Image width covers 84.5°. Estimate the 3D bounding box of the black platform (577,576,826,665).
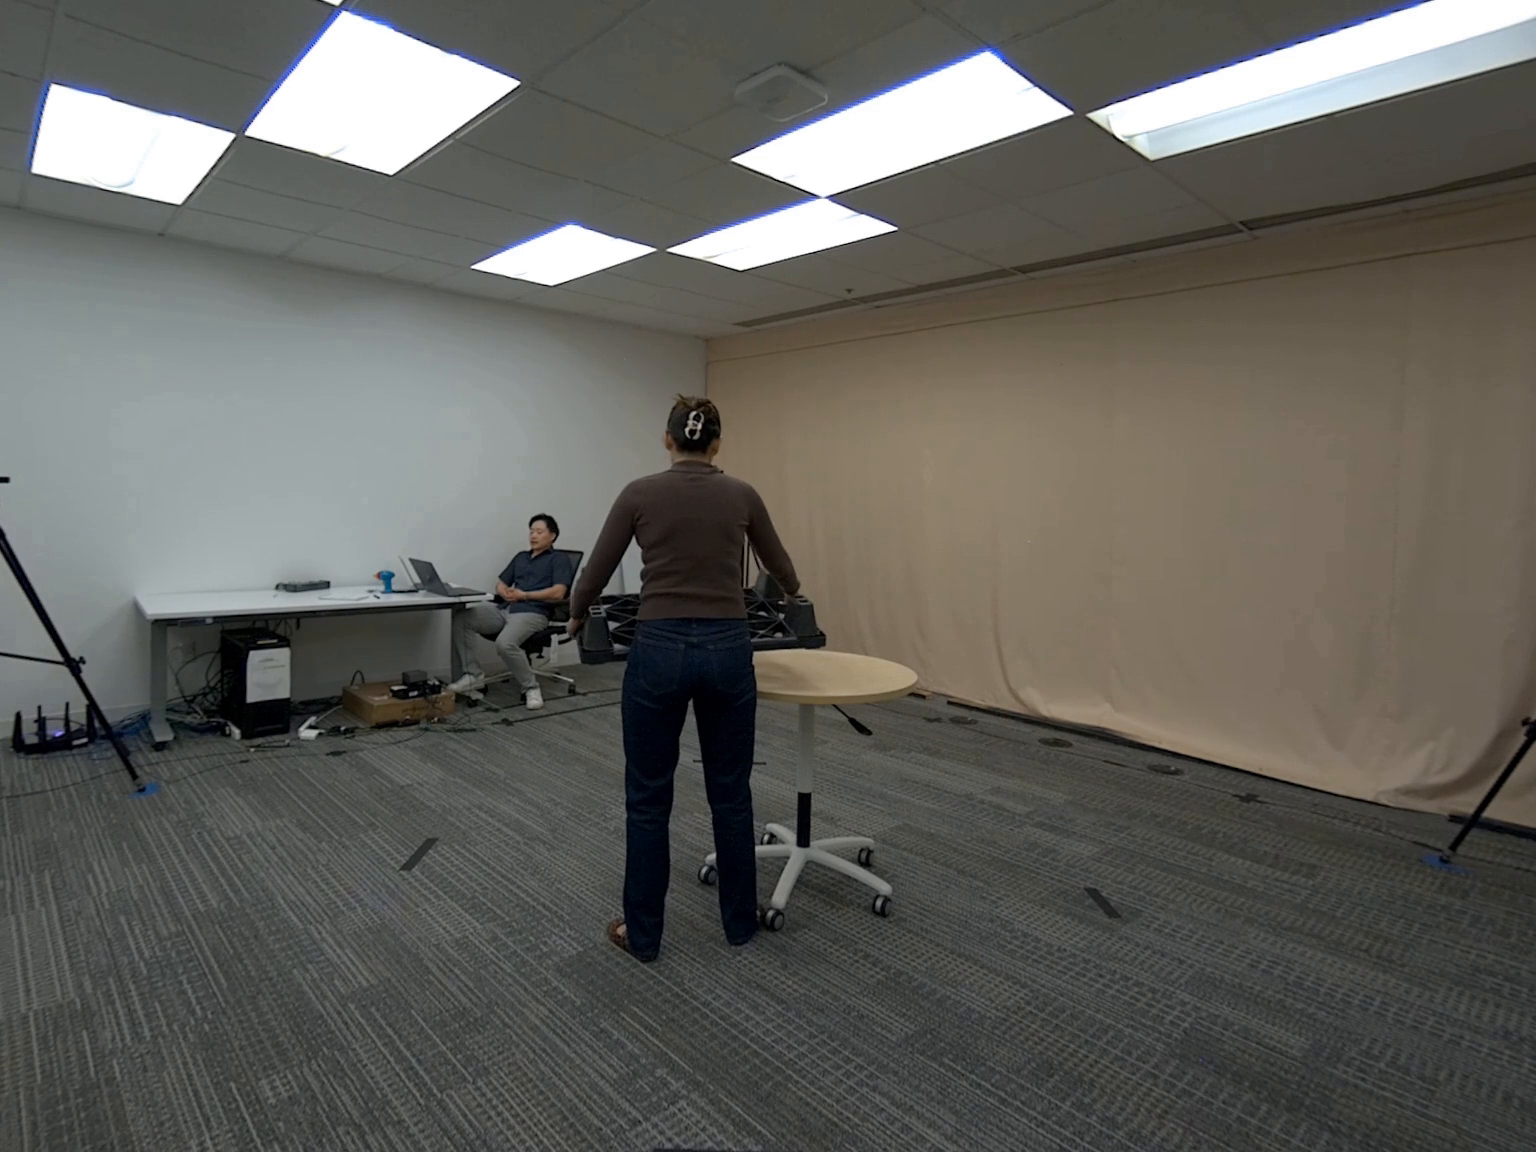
[{"bbox_3d":[-0.271,0.116,2.922,0.797,0.142,0.618,-3,16,-15],"label":"black platform"}]
